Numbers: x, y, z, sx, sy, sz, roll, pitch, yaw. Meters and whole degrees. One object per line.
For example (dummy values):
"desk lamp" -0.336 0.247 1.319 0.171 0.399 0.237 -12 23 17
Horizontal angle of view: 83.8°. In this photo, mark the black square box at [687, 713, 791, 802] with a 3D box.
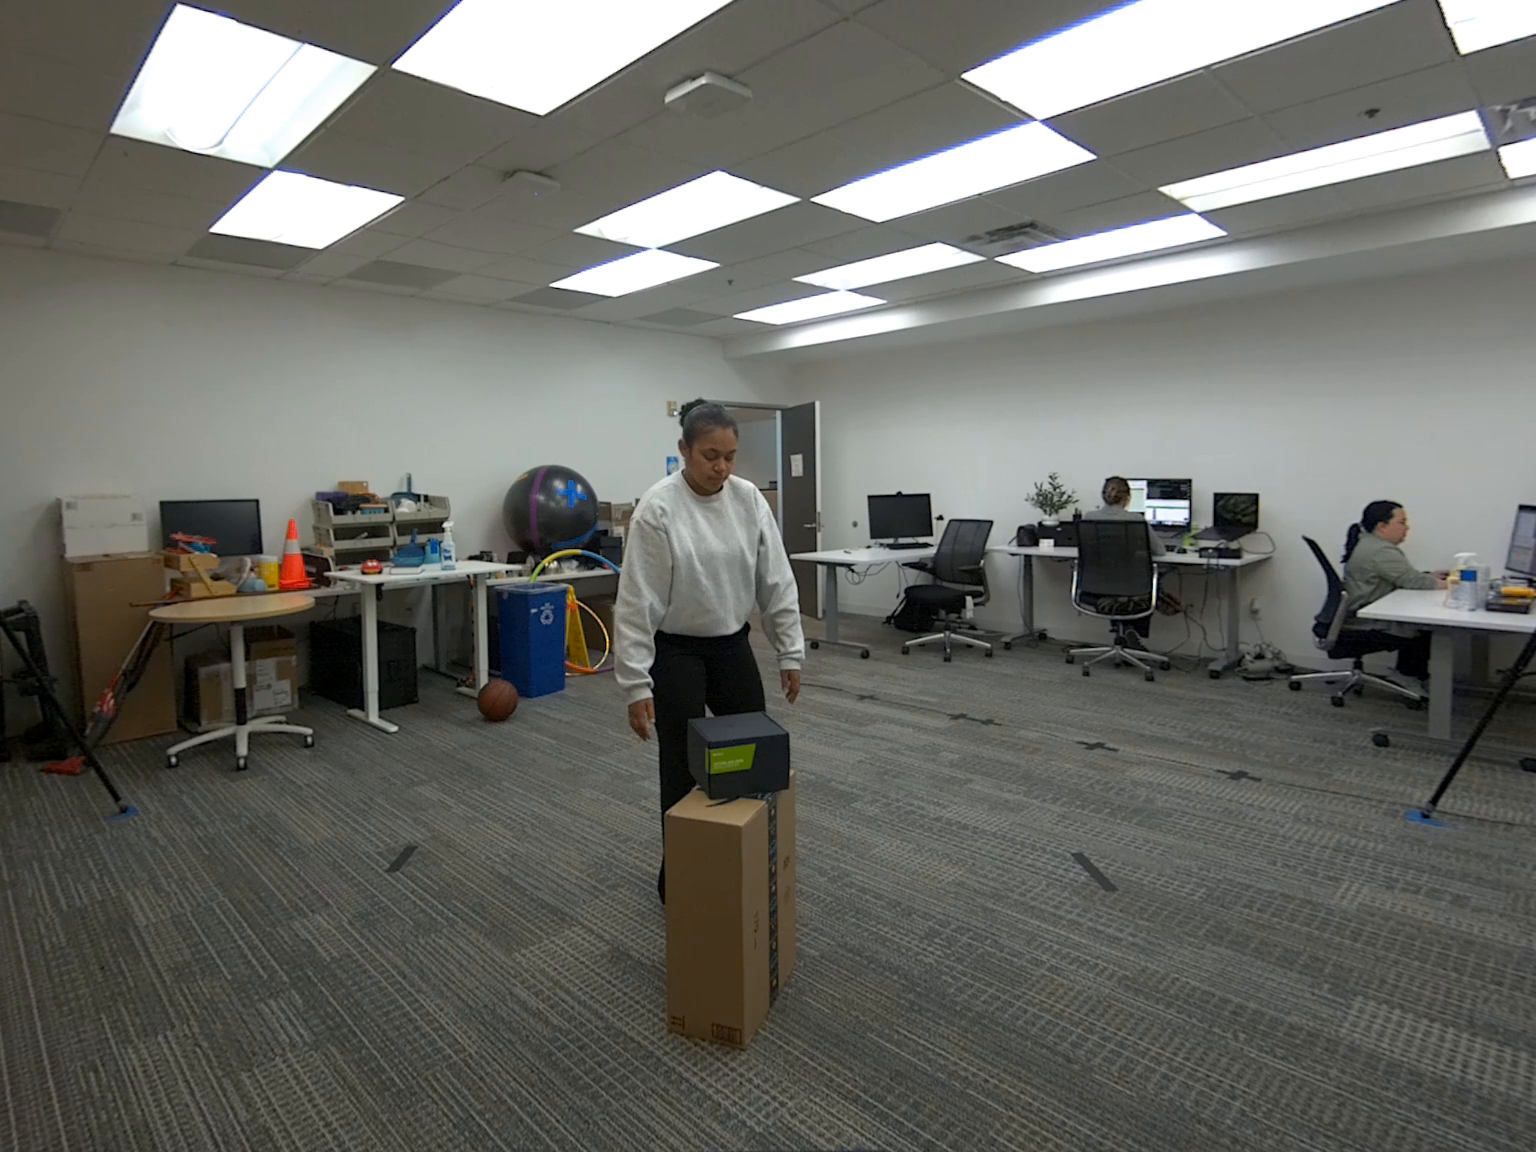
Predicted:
"black square box" -0.078 0.492 2.350 0.224 0.155 0.222 -3 7 -19
